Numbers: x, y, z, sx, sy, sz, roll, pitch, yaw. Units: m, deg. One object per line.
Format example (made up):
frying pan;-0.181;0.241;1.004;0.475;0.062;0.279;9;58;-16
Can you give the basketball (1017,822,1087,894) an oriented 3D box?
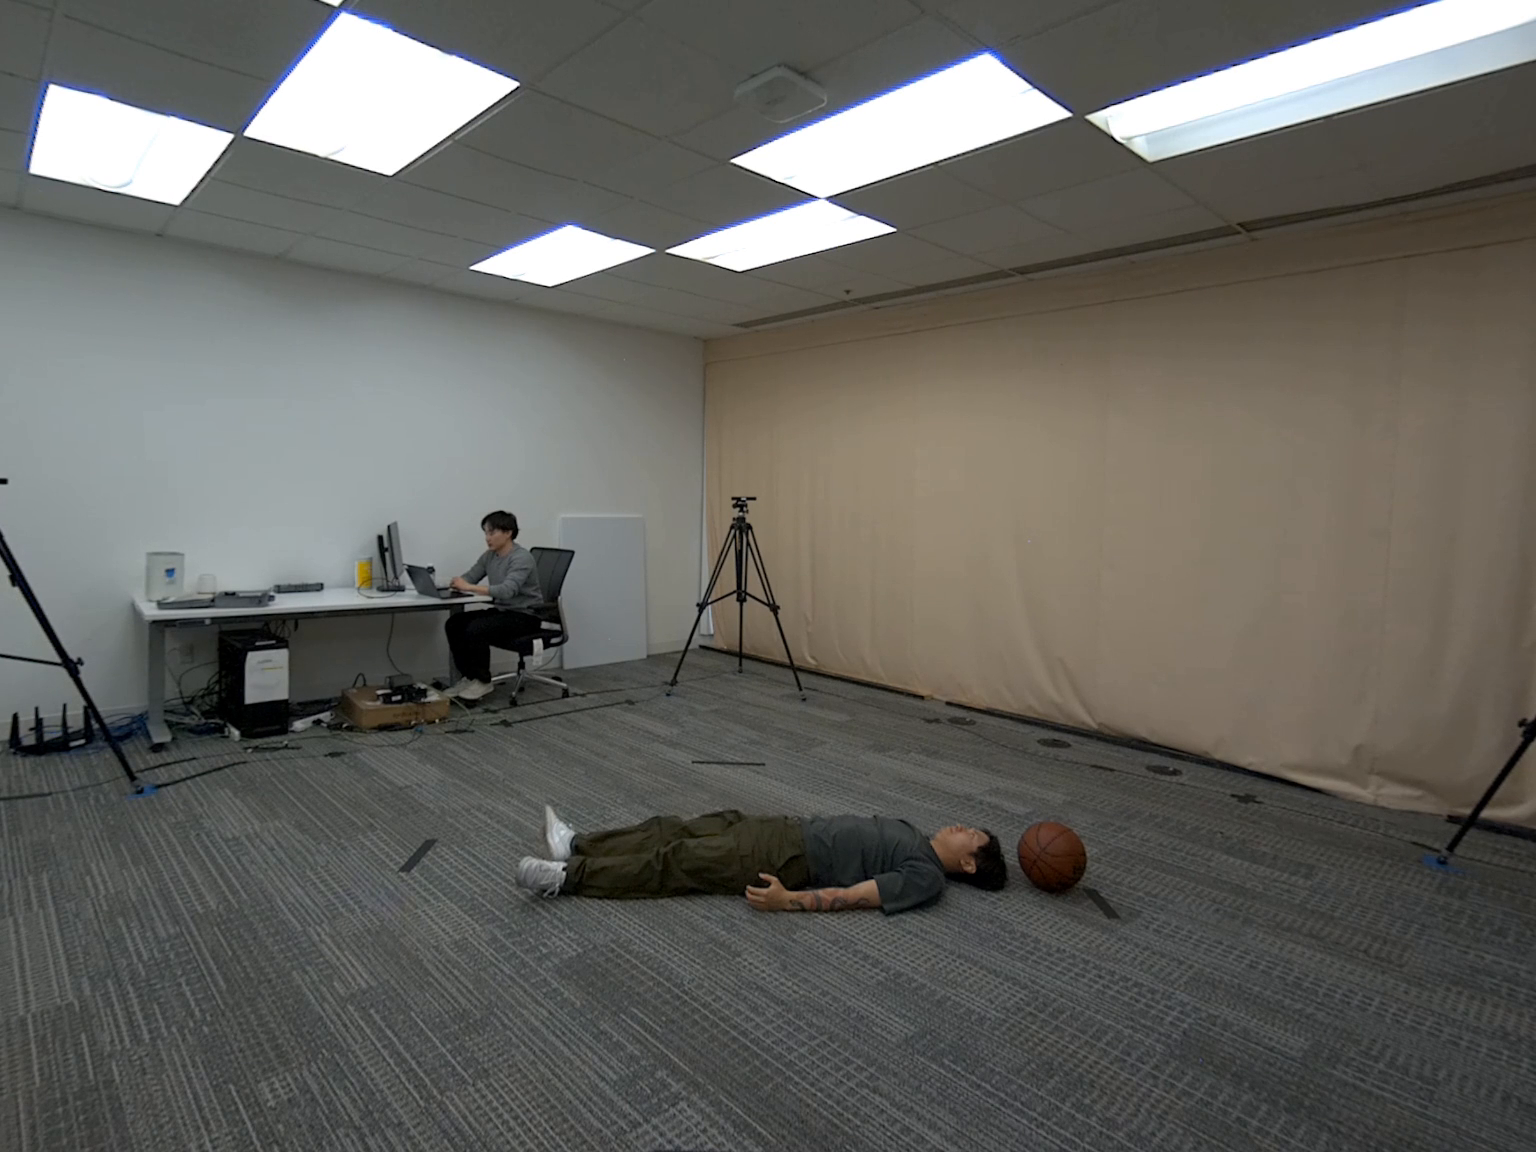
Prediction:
basketball;1.030;1.018;3.080;0.236;0.235;0.237;1;4;-1
